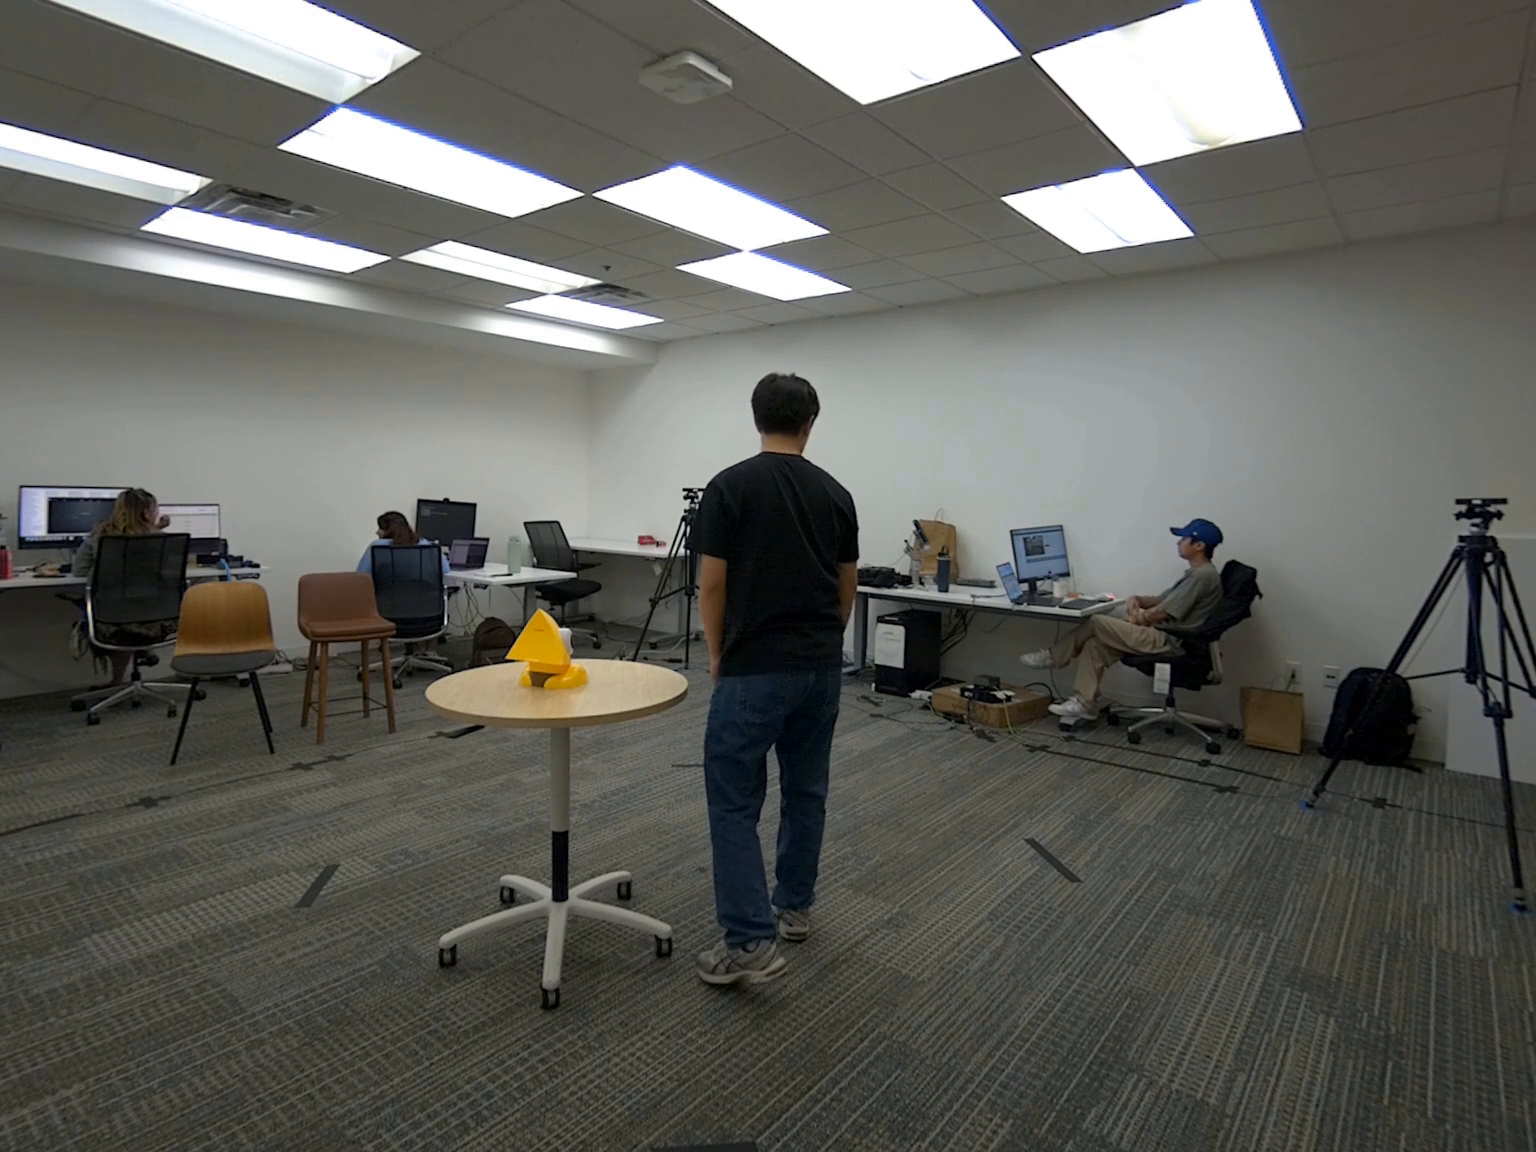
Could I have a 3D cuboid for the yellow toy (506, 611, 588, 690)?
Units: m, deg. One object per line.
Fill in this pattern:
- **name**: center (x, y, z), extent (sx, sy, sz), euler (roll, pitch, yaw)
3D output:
- **yellow toy**: center (-0.669, 0.208, 2.568), extent (0.210, 0.230, 0.189), euler (3, 4, 25)
